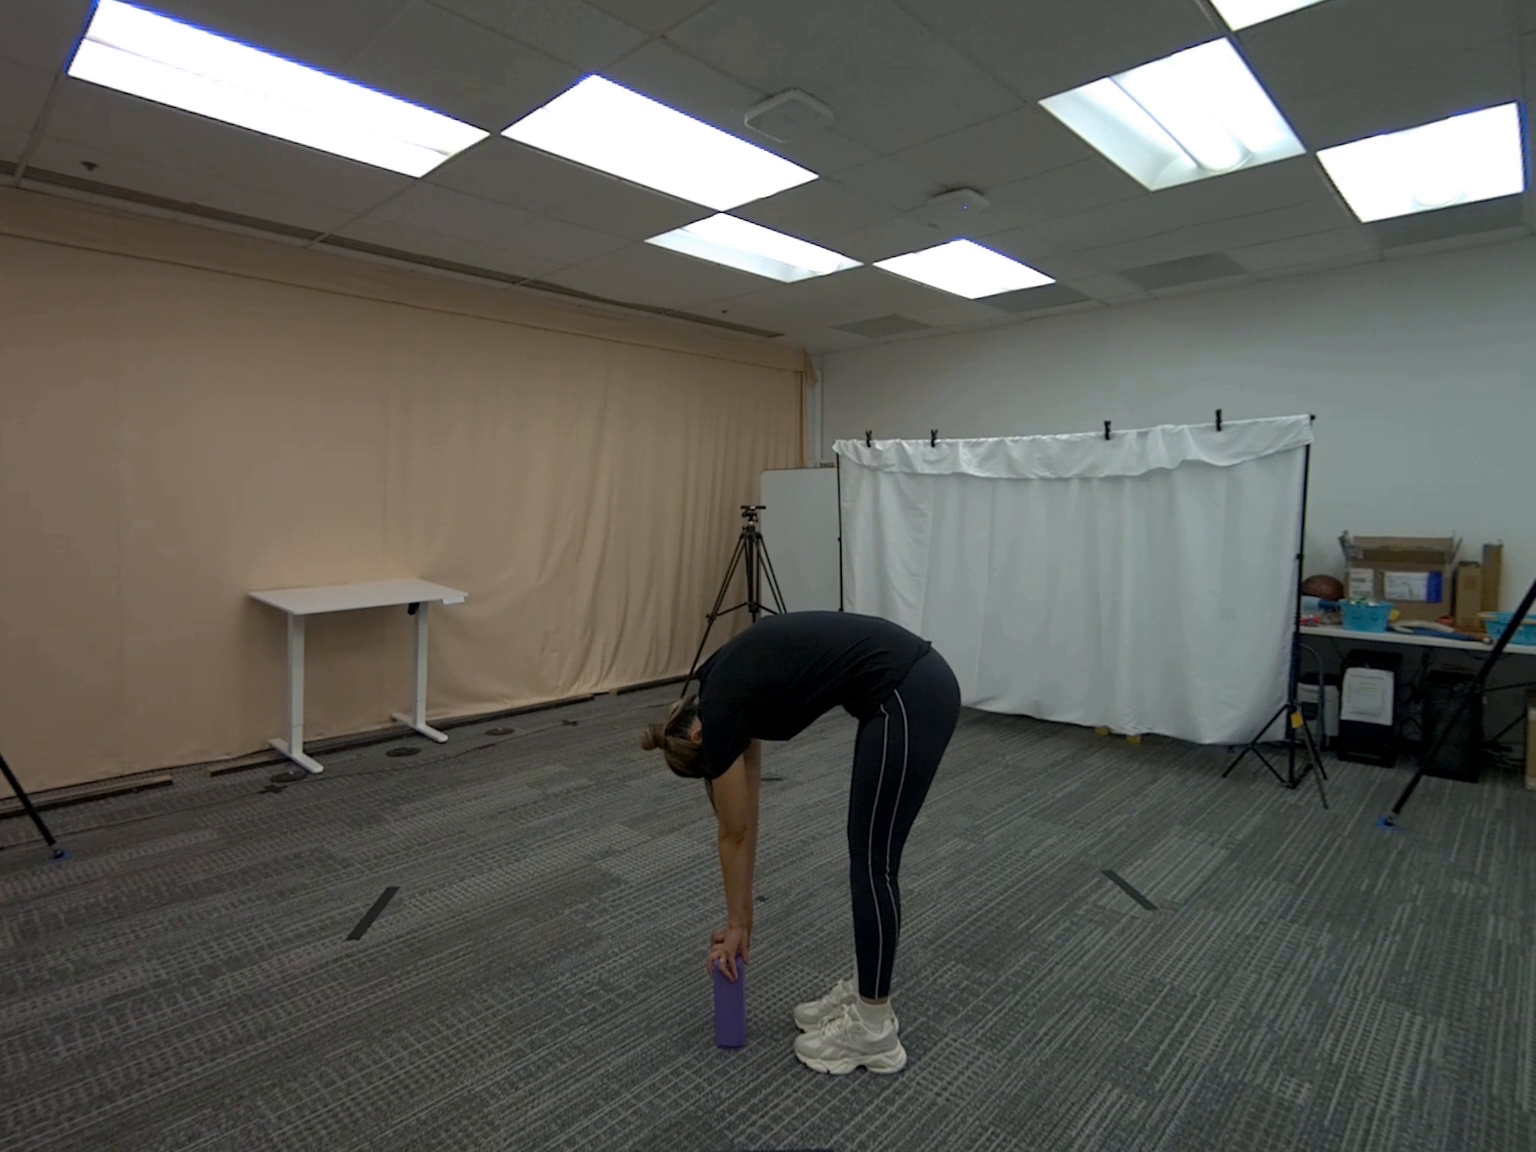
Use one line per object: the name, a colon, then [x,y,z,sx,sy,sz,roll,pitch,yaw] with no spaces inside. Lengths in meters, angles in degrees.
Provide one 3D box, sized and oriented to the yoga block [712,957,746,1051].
yoga block: [-0.100,1.103,2.223,0.076,0.229,0.149,0,2,0]
